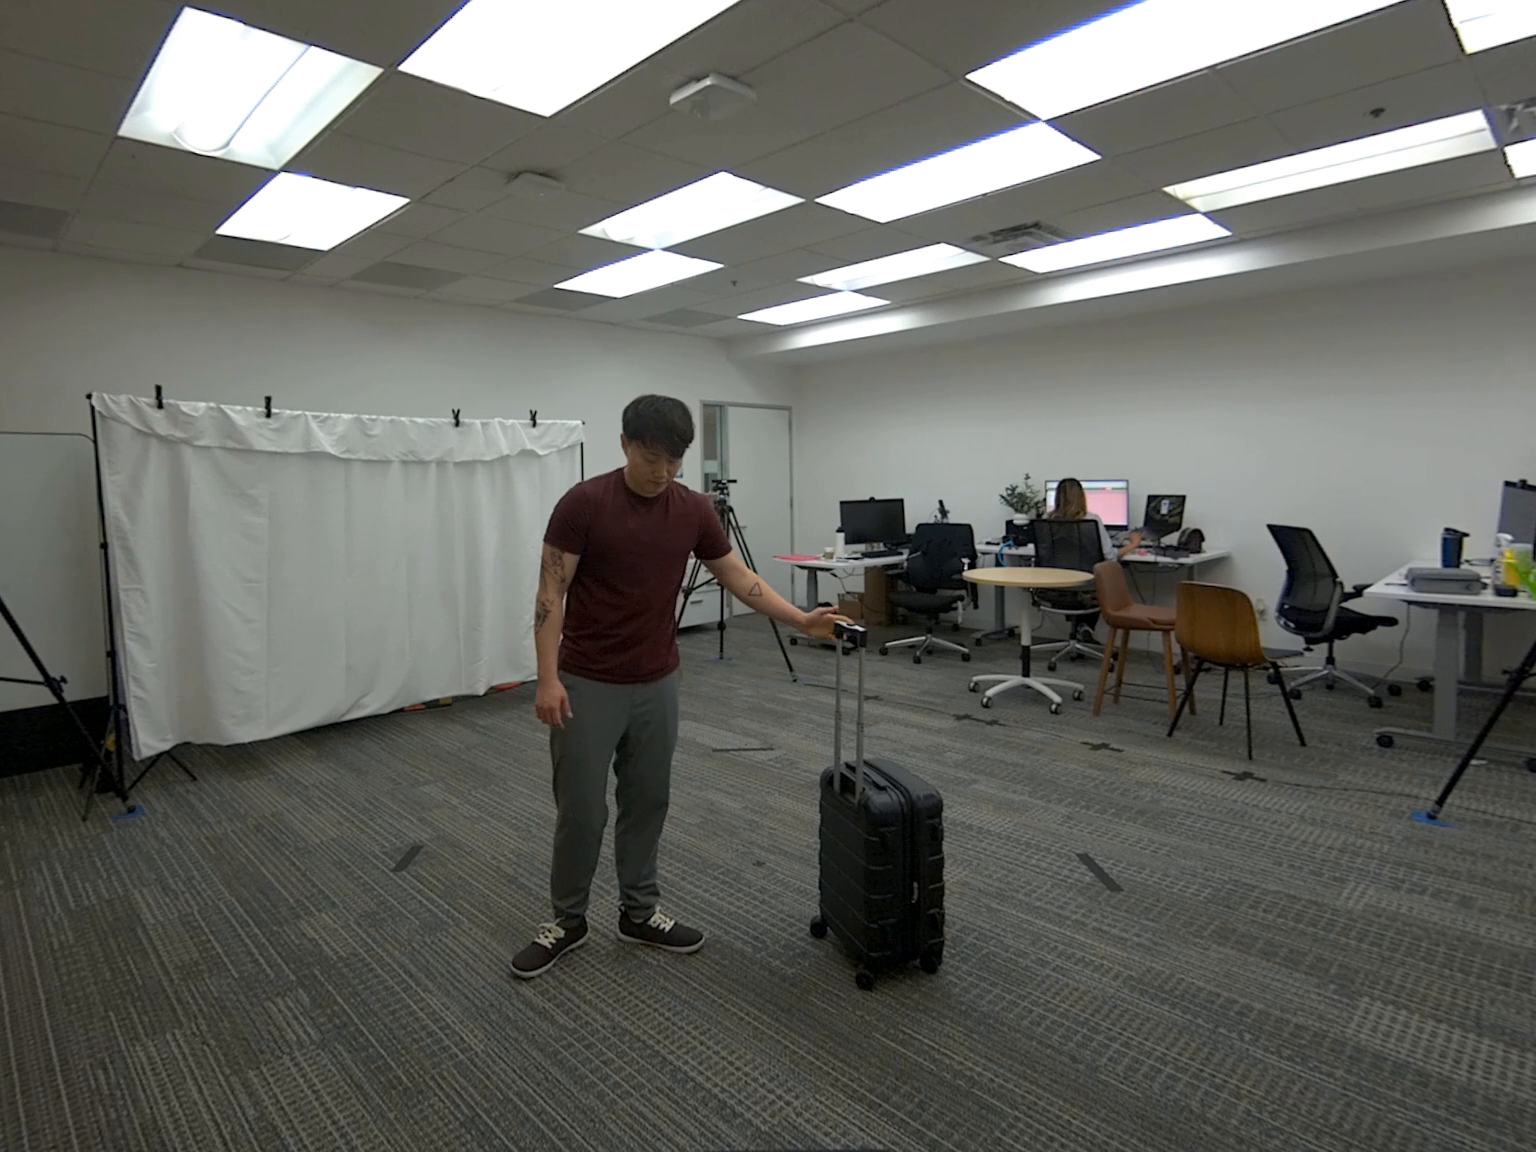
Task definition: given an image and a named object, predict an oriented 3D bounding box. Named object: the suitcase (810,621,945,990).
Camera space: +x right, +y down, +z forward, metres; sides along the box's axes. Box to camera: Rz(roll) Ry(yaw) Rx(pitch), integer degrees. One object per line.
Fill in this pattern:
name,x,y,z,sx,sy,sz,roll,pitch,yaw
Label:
suitcase,0.334,0.636,2.486,0.252,0.975,0.392,0,4,-21
